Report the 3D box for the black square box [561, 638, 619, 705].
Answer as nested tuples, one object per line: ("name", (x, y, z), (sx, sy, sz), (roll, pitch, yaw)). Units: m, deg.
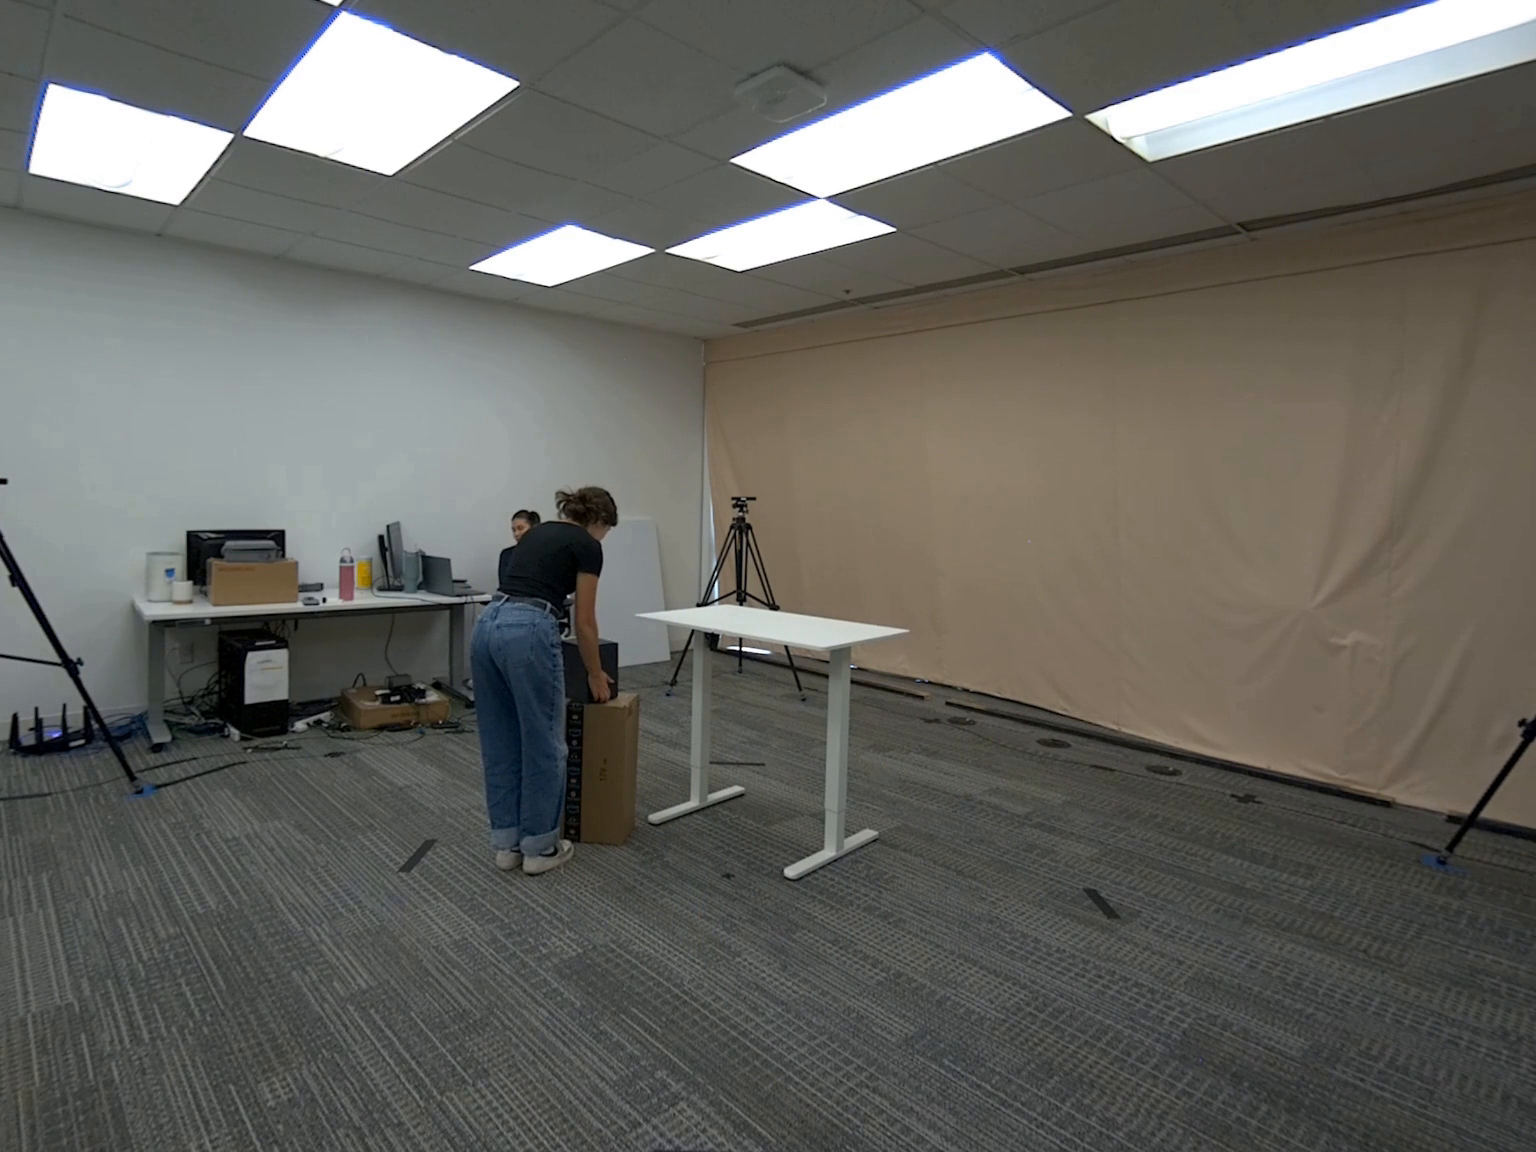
("black square box", (-0.742, 0.371, 3.455), (0.152, 0.227, 0.223), (-5, 8, -43))
